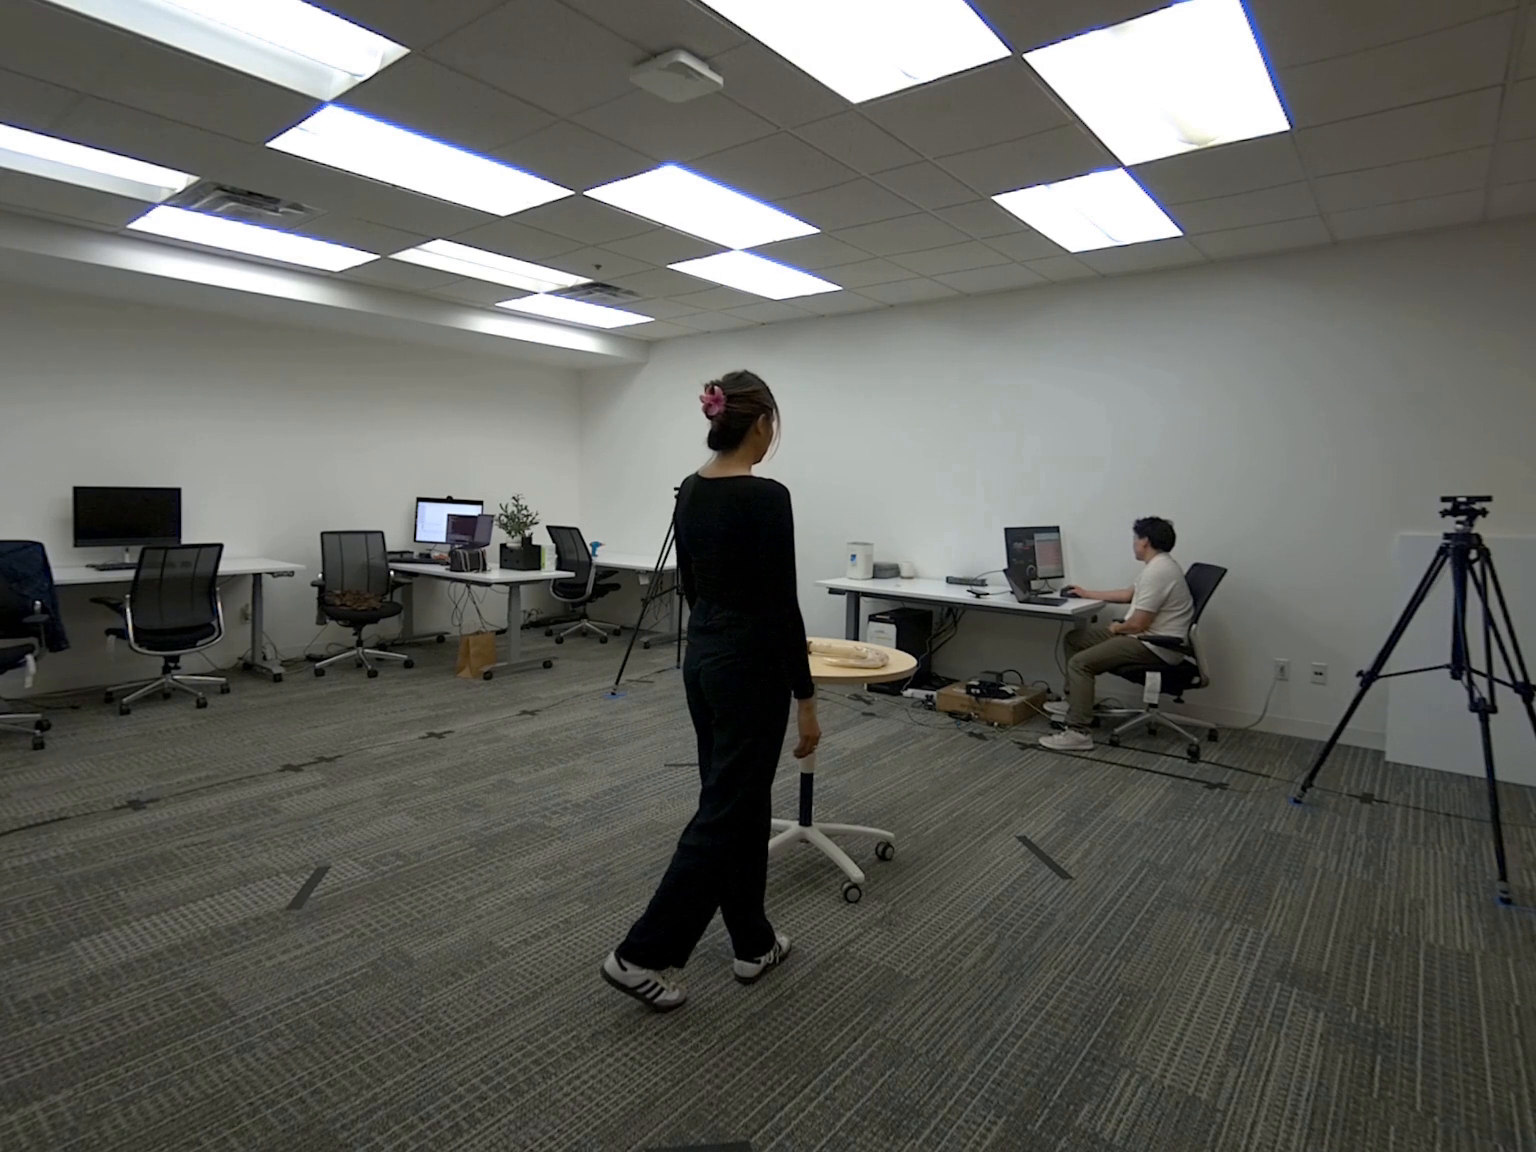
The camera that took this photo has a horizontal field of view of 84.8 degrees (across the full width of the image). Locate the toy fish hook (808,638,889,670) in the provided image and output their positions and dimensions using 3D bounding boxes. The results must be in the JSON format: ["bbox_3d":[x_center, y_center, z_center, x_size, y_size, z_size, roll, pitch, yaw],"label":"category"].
[{"bbox_3d":[0.181,0.270,3.085,0.521,0.048,0.219,5,6,29],"label":"toy fish hook"}]
